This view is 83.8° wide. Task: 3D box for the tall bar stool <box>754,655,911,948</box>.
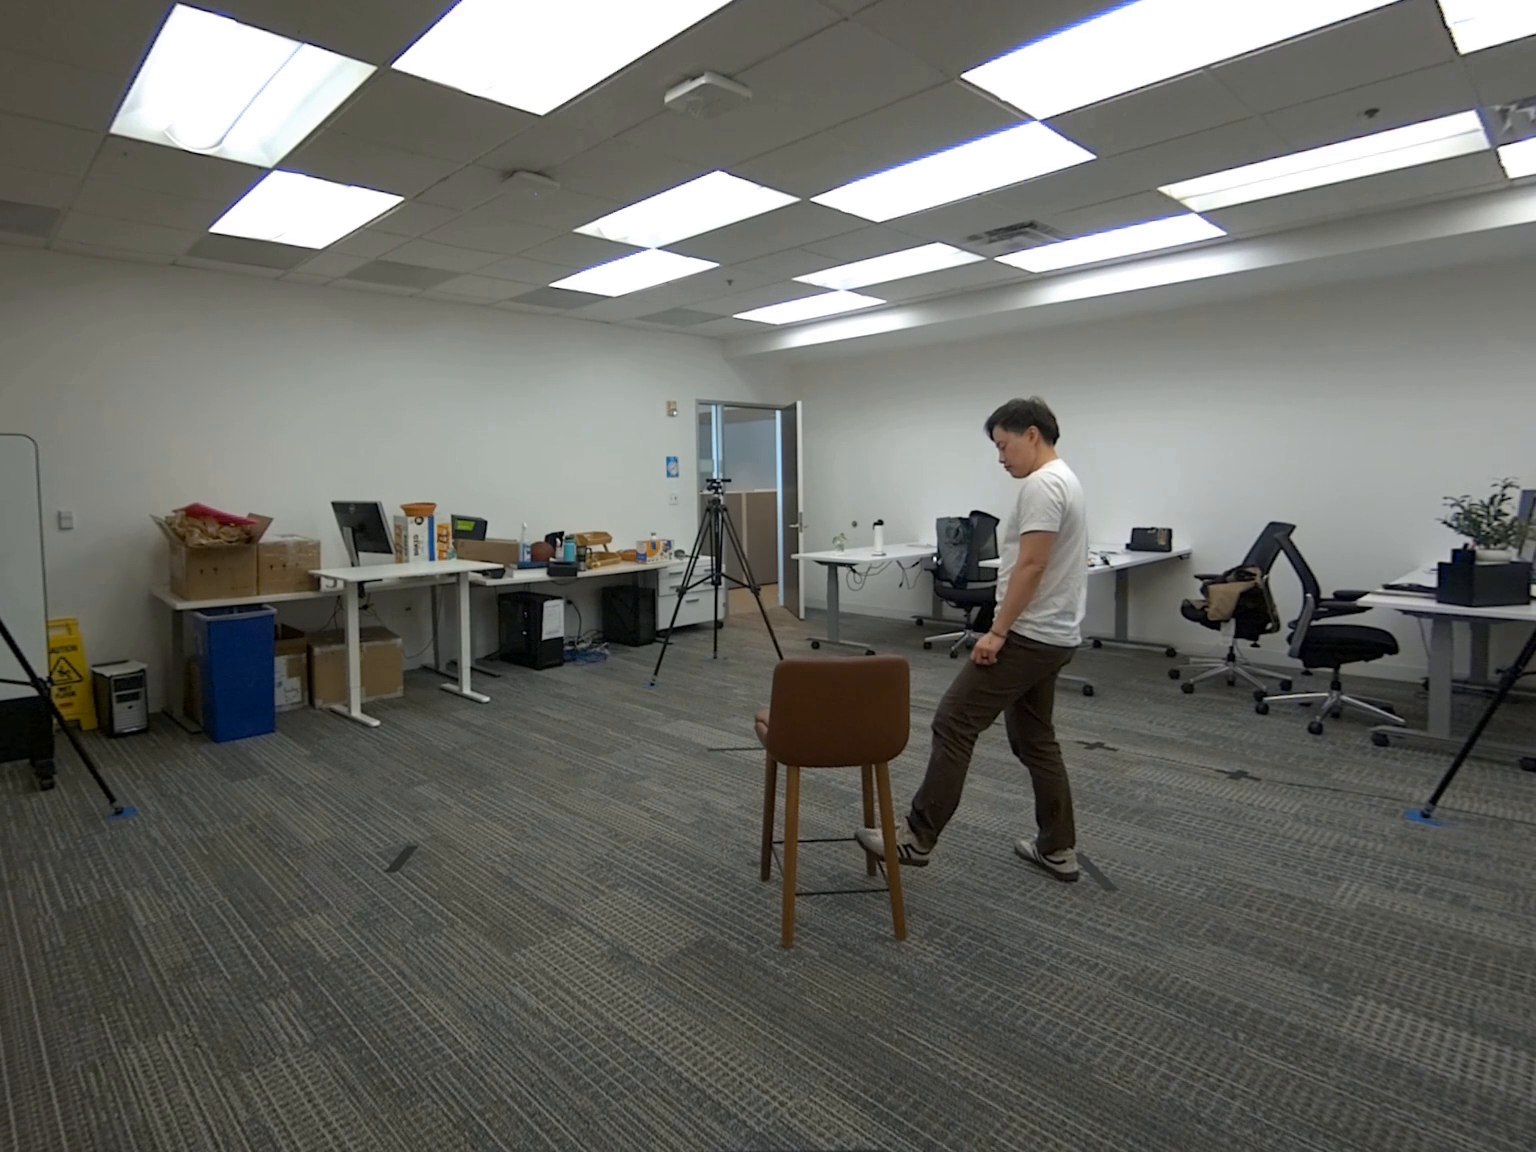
[{"bbox_3d":[0.197,0.646,2.745,0.454,0.885,0.472,-1,6,-6],"label":"tall bar stool"}]
